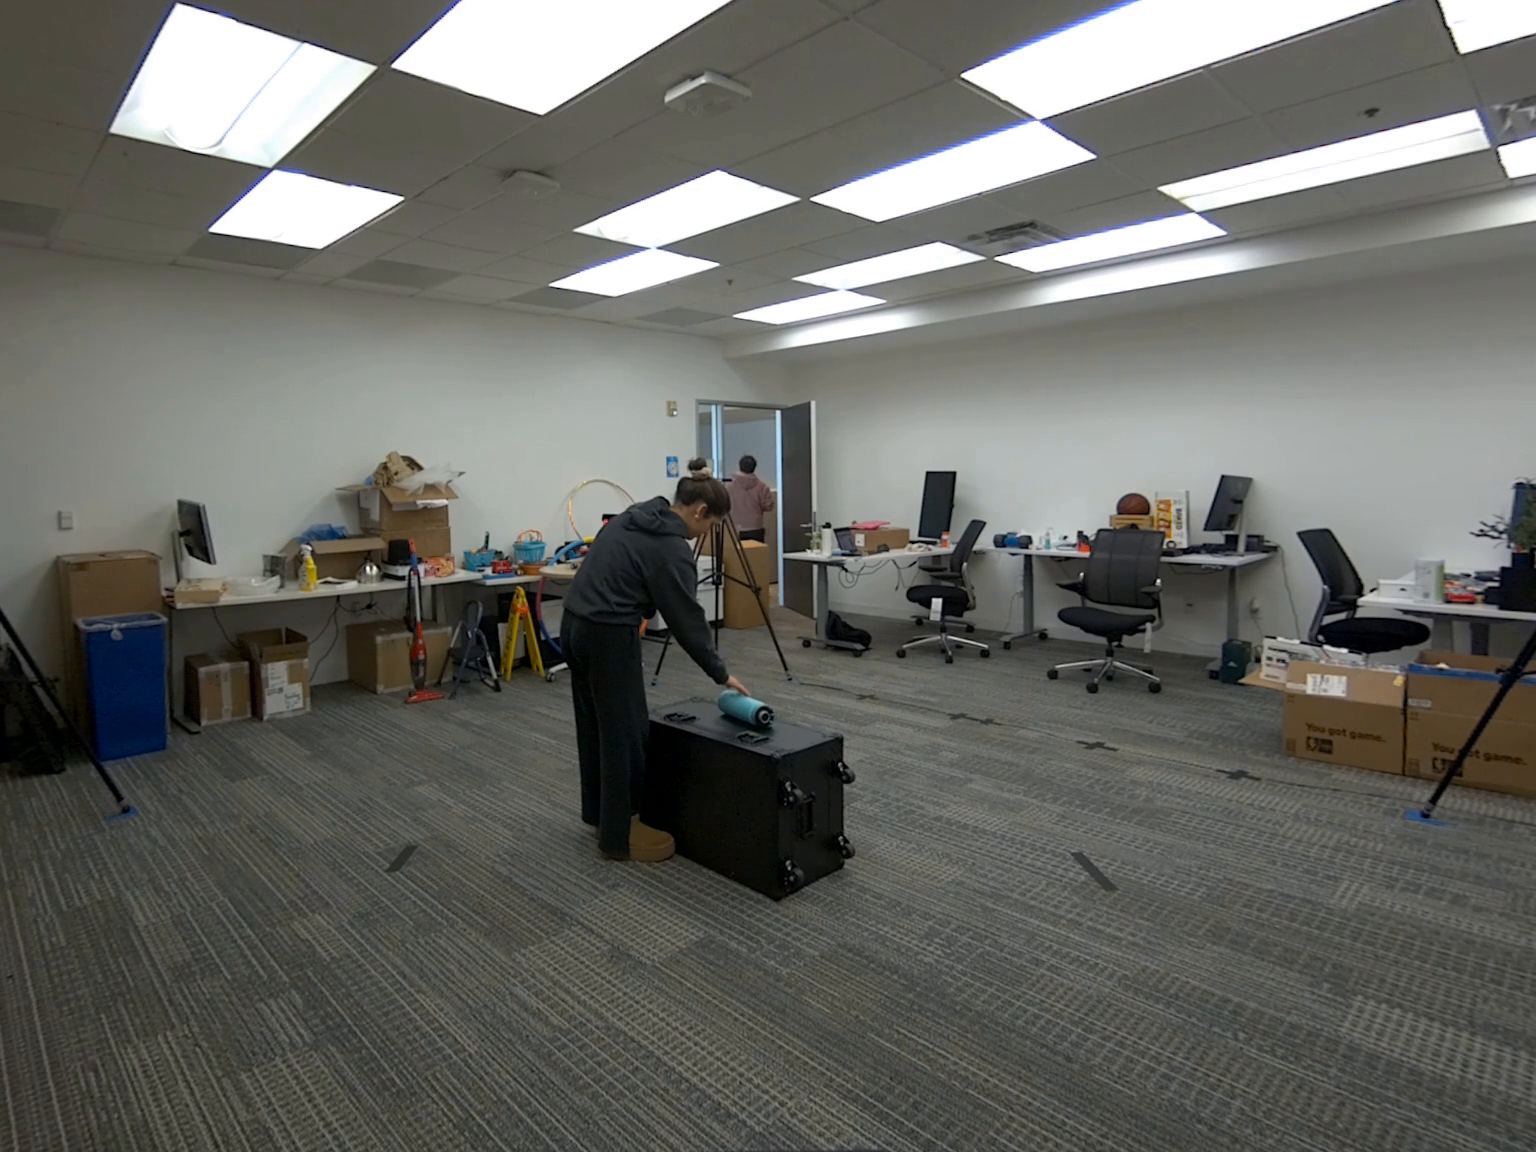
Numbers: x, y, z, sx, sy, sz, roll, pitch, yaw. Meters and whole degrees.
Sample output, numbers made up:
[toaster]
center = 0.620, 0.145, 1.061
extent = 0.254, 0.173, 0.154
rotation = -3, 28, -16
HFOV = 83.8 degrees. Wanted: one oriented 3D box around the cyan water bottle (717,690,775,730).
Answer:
[cyan water bottle]
center = -0.082, 0.500, 3.208
extent = 0.090, 0.092, 0.292
rotation = -4, 7, -35
